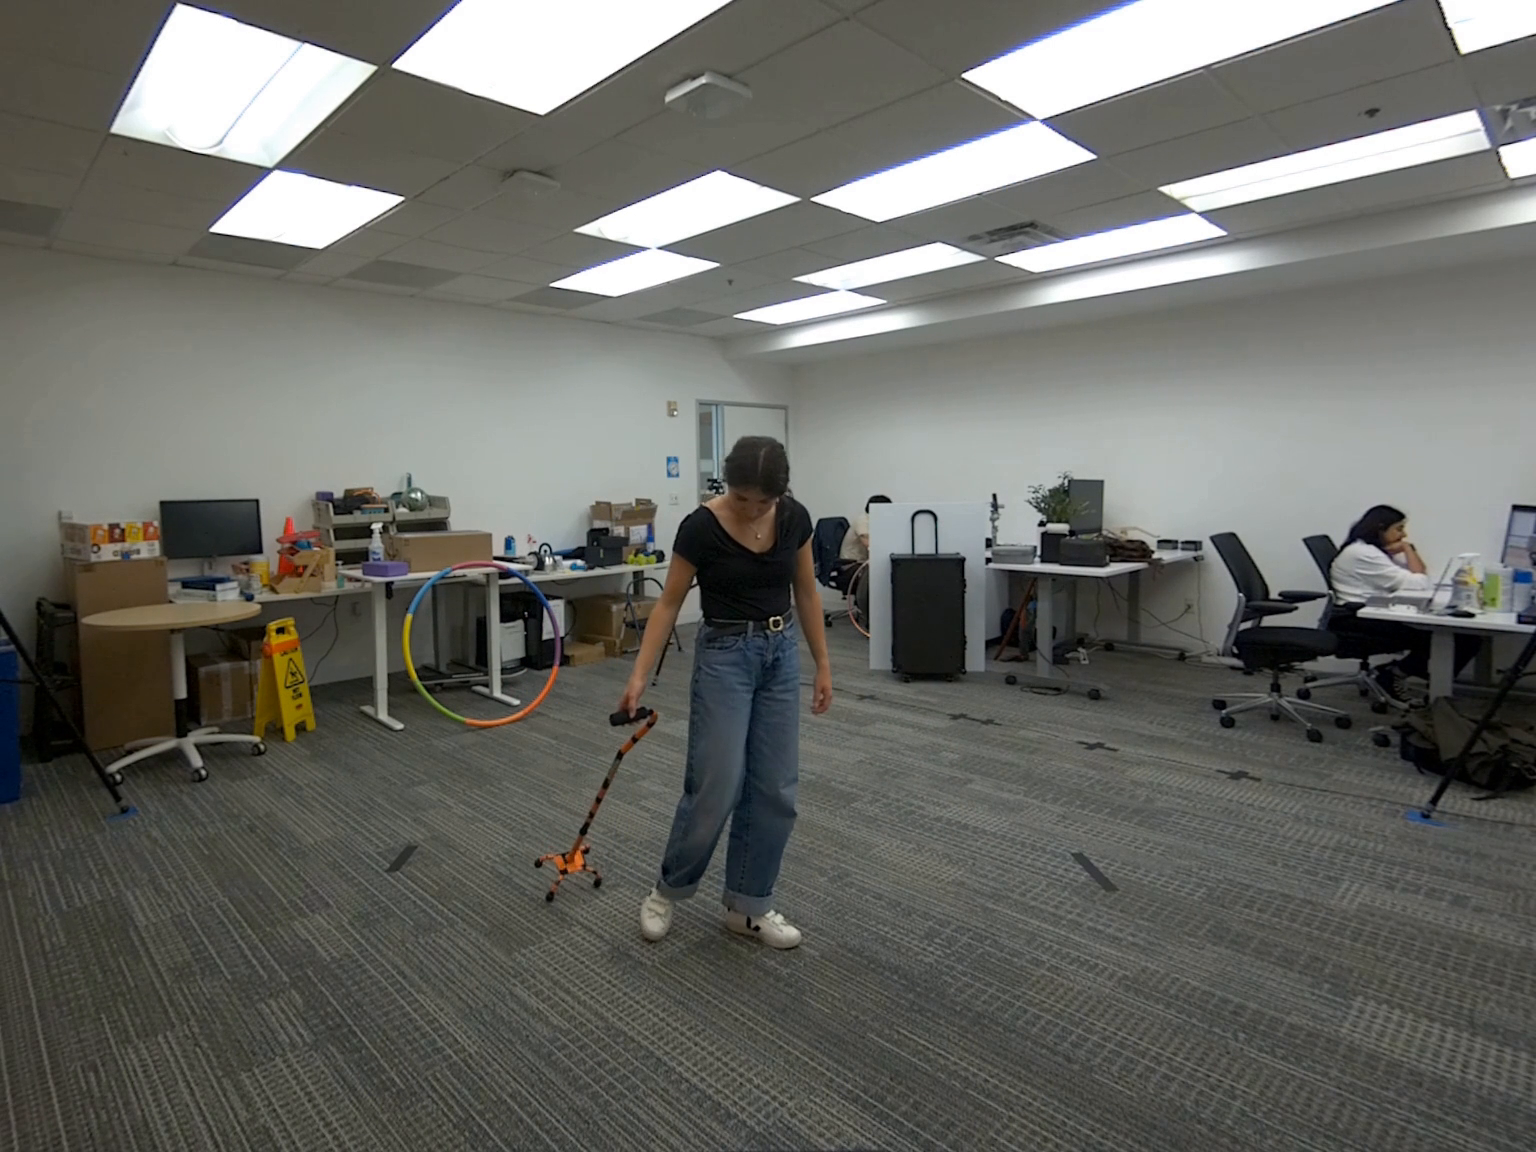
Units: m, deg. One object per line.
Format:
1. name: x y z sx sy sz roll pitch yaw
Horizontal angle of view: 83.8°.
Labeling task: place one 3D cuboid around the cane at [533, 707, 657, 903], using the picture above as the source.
1. cane: -0.519 0.712 2.677 0.201 0.898 0.157 -5 47 -35
